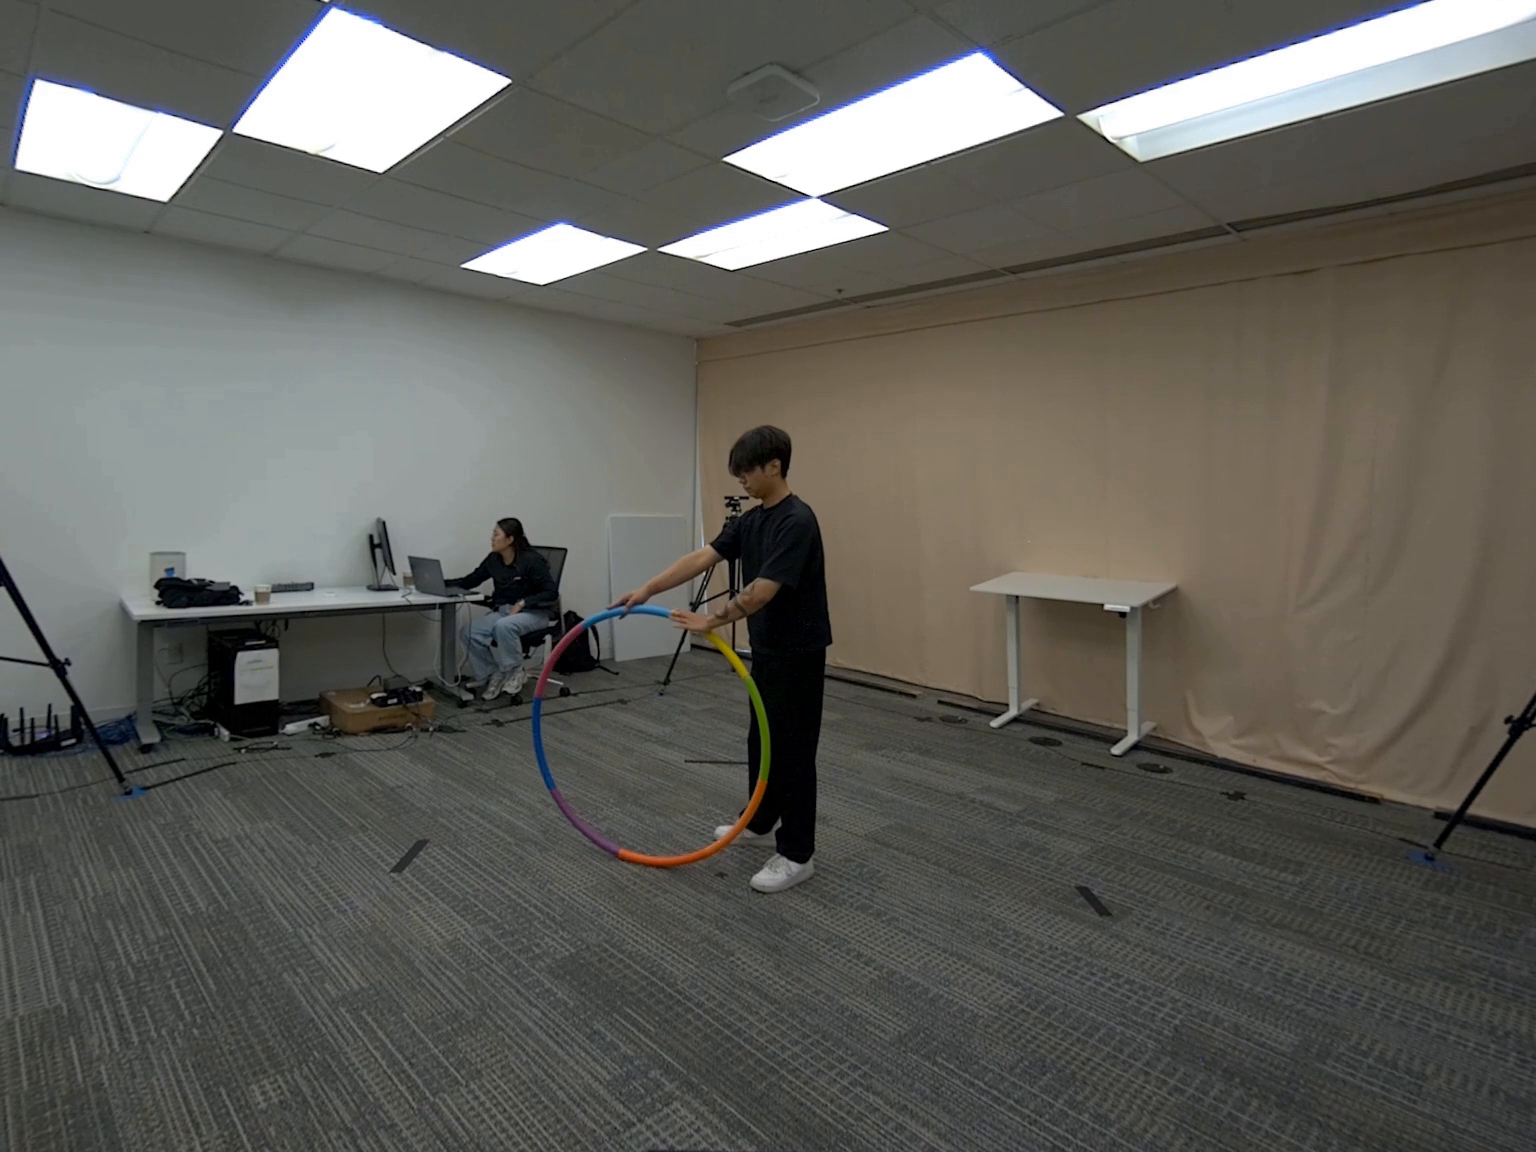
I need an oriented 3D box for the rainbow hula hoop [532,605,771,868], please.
[{"bbox_3d":[-0.463,0.605,3.158,0.994,0.976,0.035,3,3,20],"label":"rainbow hula hoop"}]
